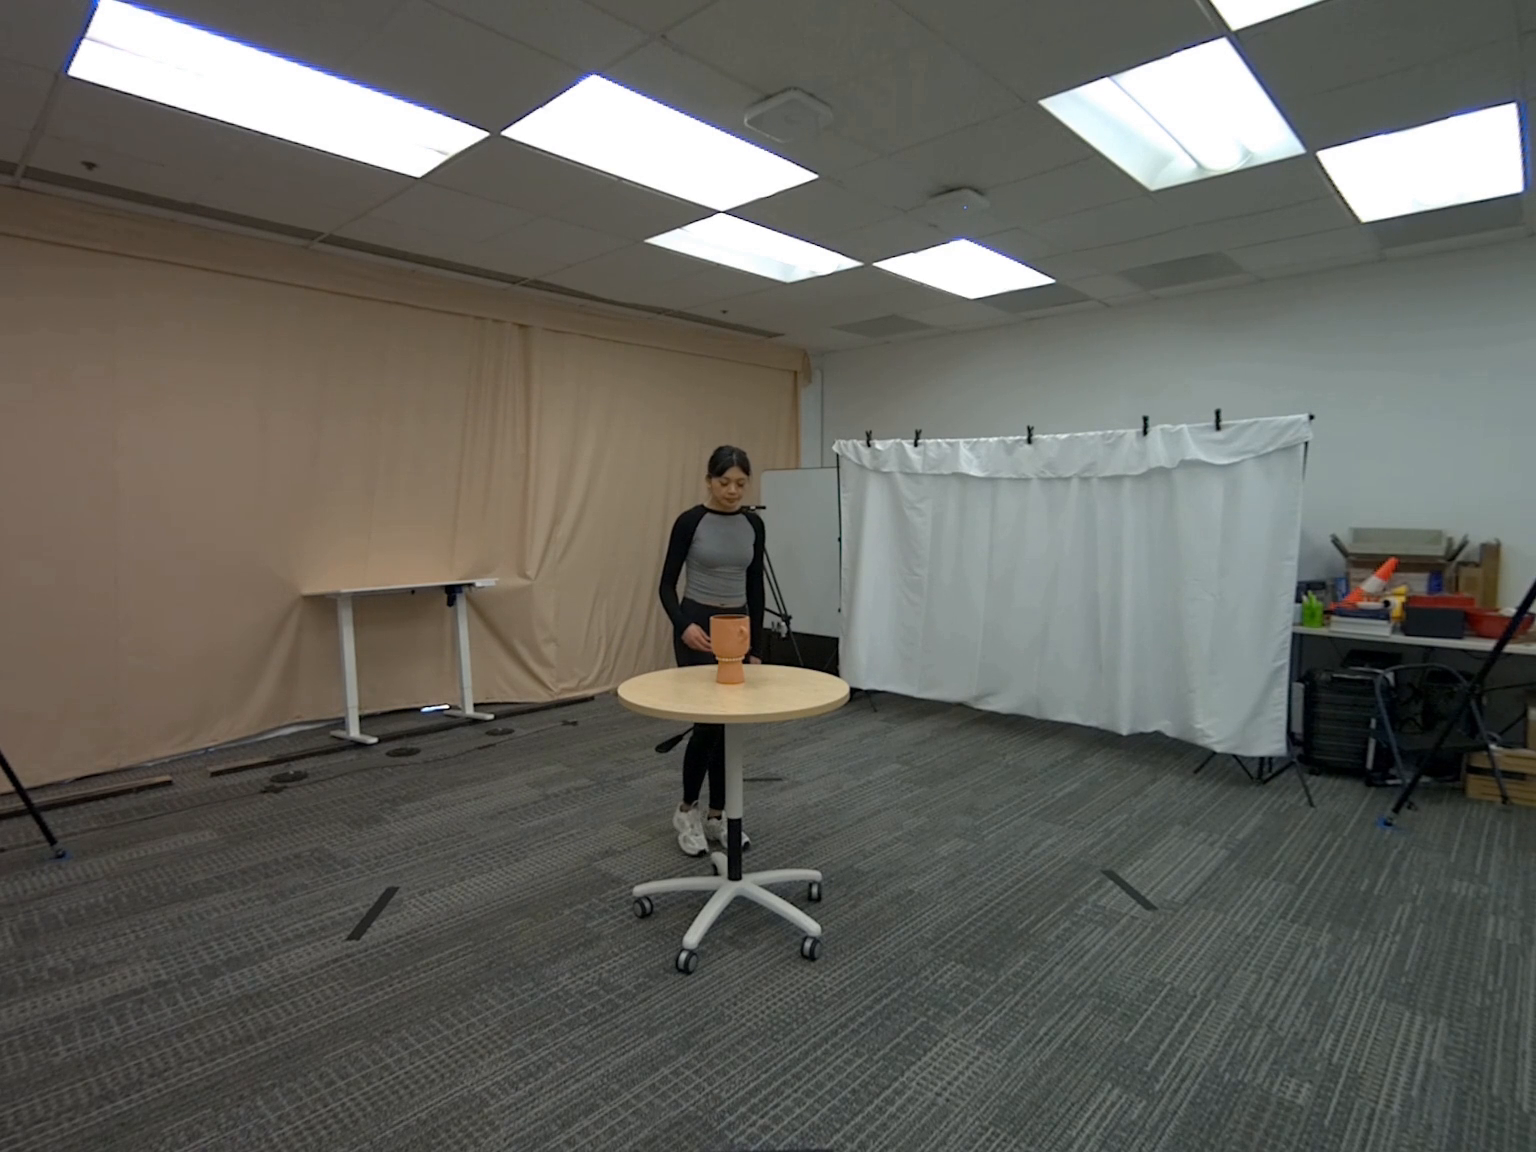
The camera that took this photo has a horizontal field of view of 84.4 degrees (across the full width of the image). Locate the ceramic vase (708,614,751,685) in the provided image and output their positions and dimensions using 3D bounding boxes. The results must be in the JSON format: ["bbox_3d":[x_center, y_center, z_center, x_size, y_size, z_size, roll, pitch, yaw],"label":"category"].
[{"bbox_3d":[-0.125,0.248,2.871,0.135,0.219,0.158,1,4,3],"label":"ceramic vase"}]
